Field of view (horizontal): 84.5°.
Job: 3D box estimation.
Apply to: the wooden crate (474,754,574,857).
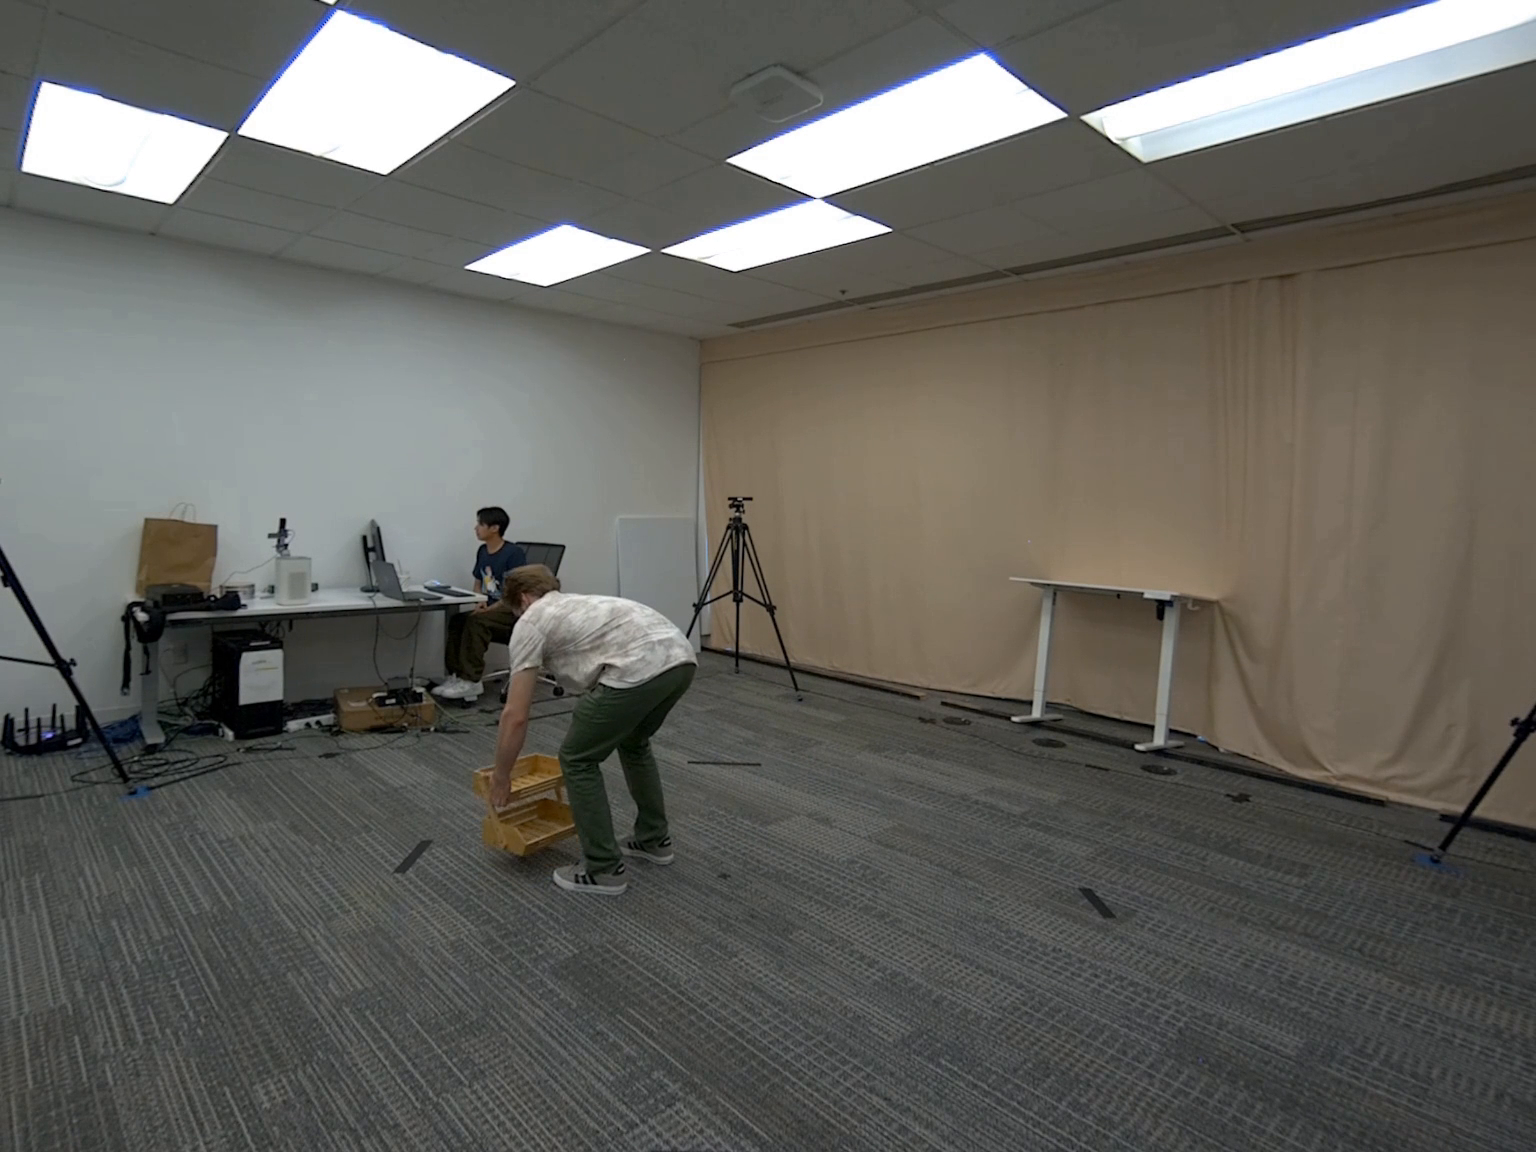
[{"bbox_3d":[-0.907,0.852,3.213,0.309,0.273,0.317,1,4,36],"label":"wooden crate"}]
